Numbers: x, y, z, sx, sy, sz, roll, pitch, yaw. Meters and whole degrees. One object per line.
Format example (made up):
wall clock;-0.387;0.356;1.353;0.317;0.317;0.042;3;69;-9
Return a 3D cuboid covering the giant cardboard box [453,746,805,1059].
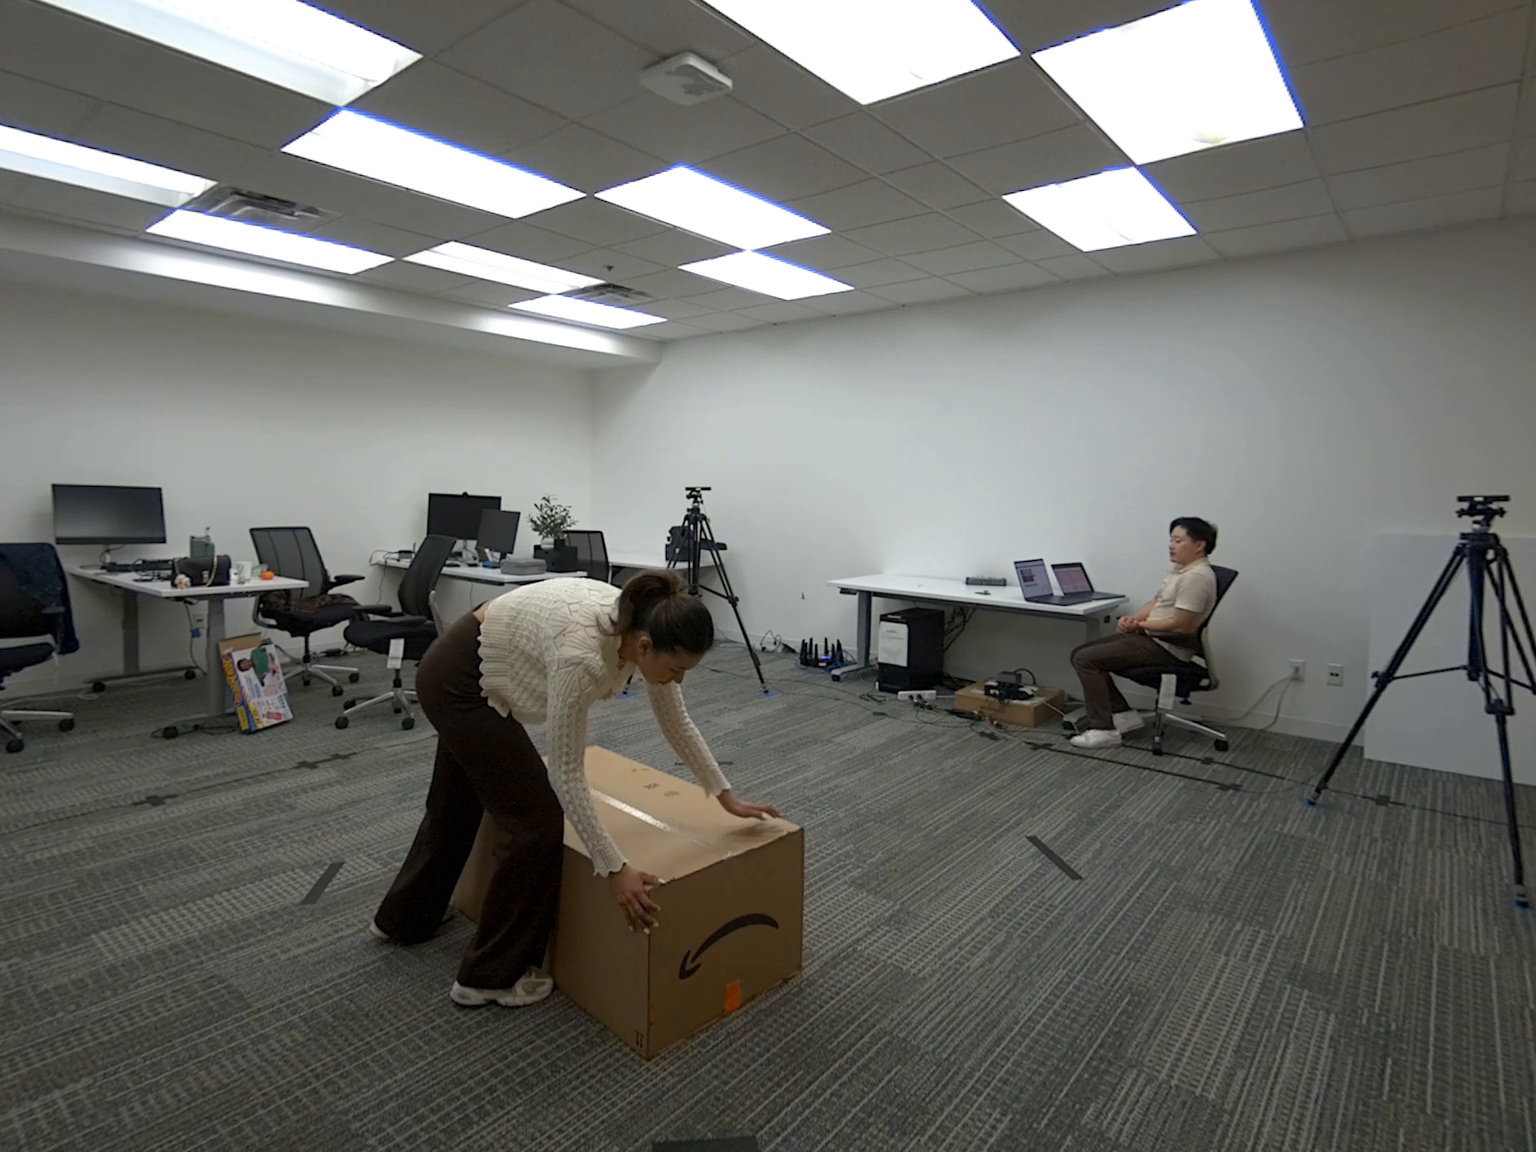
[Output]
giant cardboard box;-0.467;0.901;2.613;0.560;0.424;1.061;-4;8;-45
